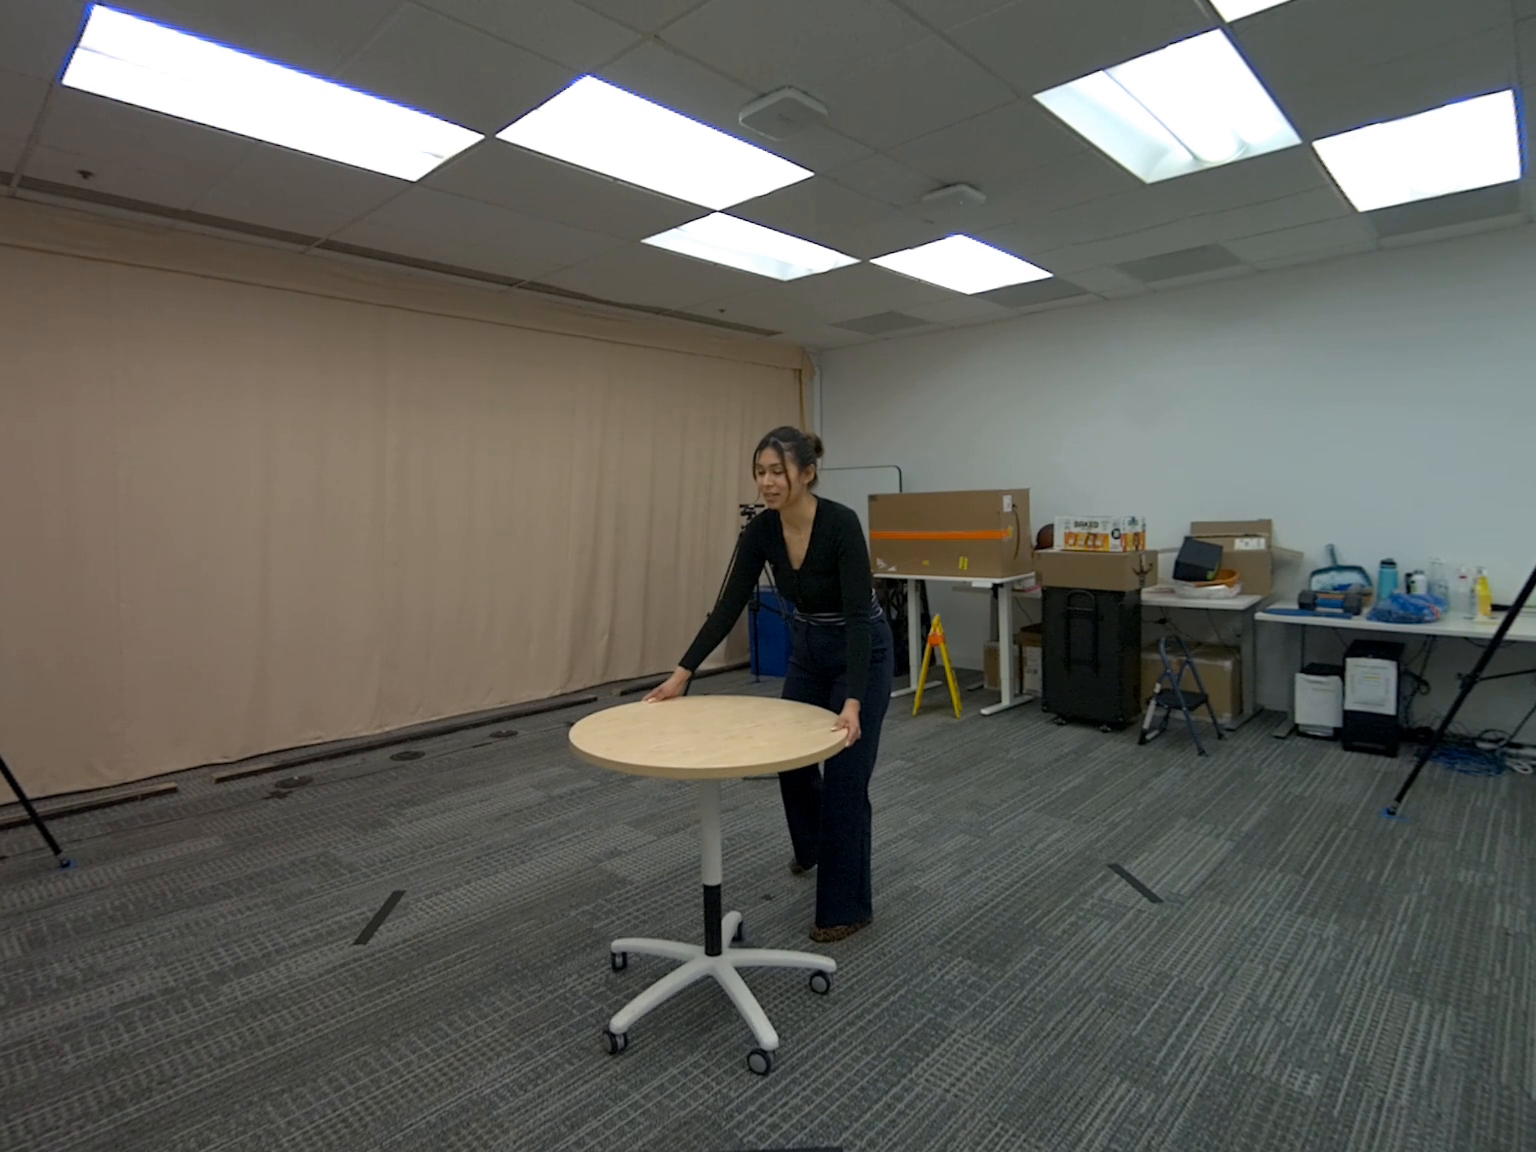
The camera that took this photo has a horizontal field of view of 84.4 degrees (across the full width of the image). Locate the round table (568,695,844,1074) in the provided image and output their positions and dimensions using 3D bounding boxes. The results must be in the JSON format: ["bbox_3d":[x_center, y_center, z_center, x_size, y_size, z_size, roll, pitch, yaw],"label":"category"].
[{"bbox_3d":[-0.158,0.807,2.355,0.763,0.792,0.767,-2,4,-2],"label":"round table"}]
